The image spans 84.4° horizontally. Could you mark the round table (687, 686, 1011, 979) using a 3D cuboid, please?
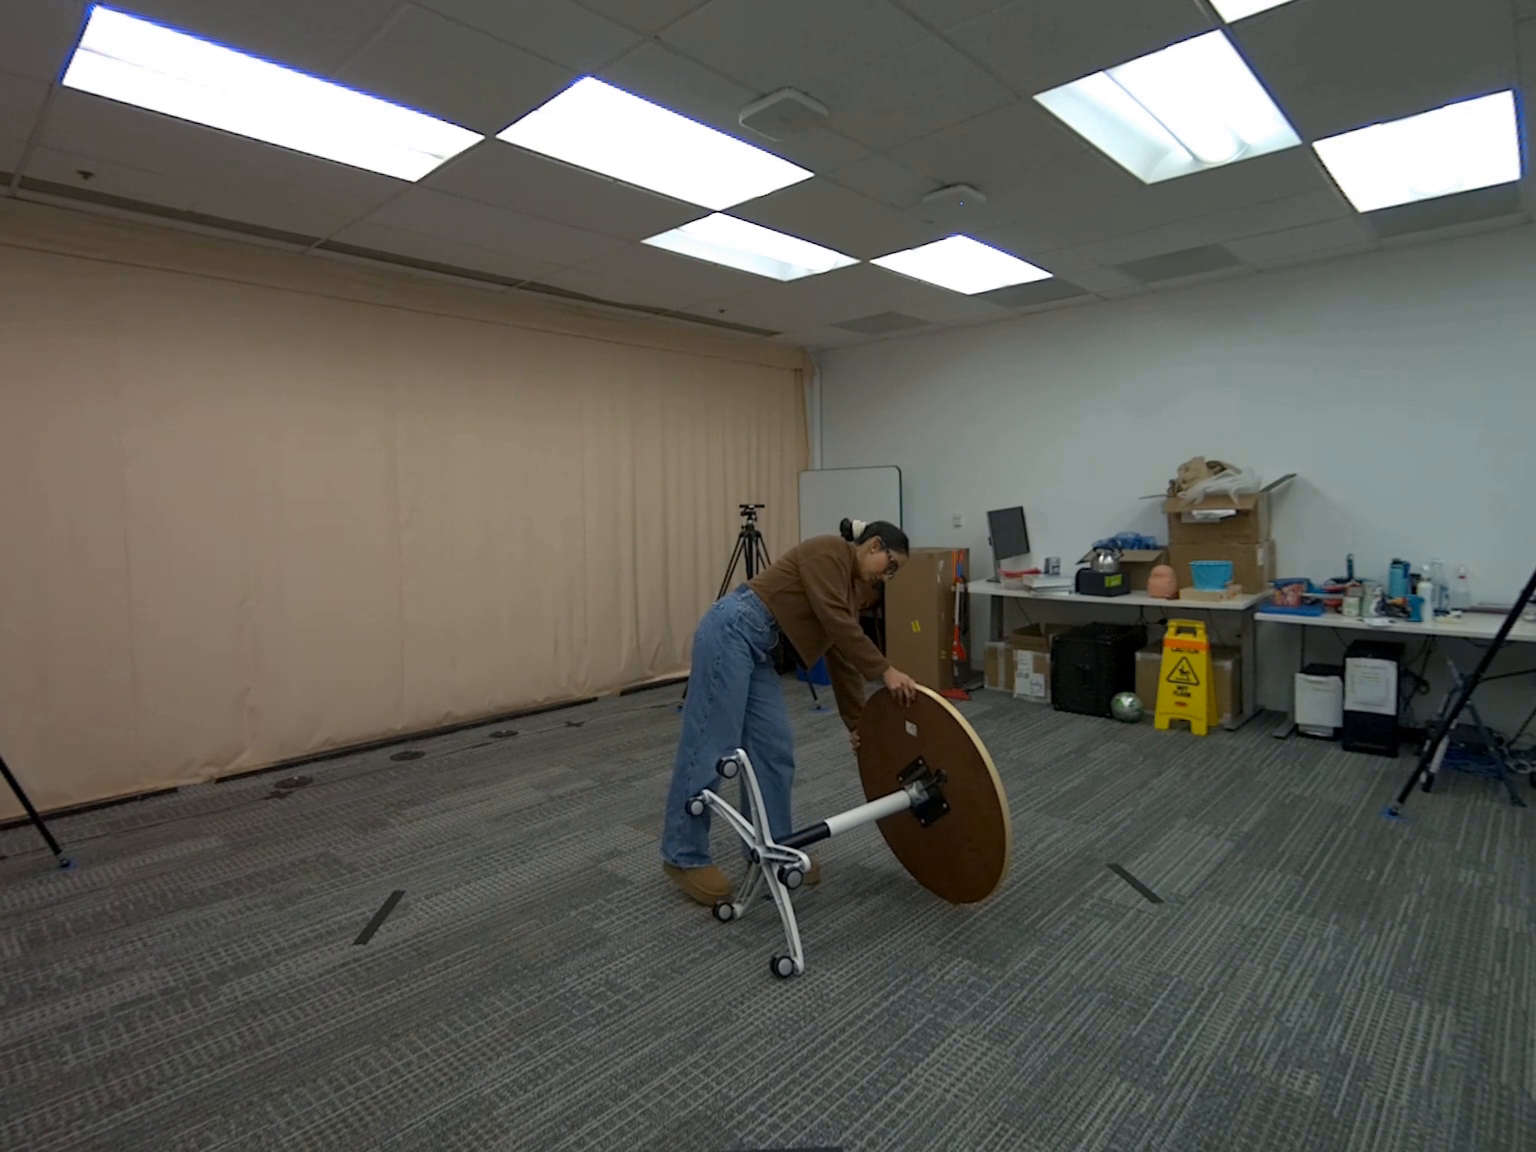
[{"bbox_3d":[0.236,0.821,2.776,0.776,0.760,0.785,-11,8,-27],"label":"round table"}]
